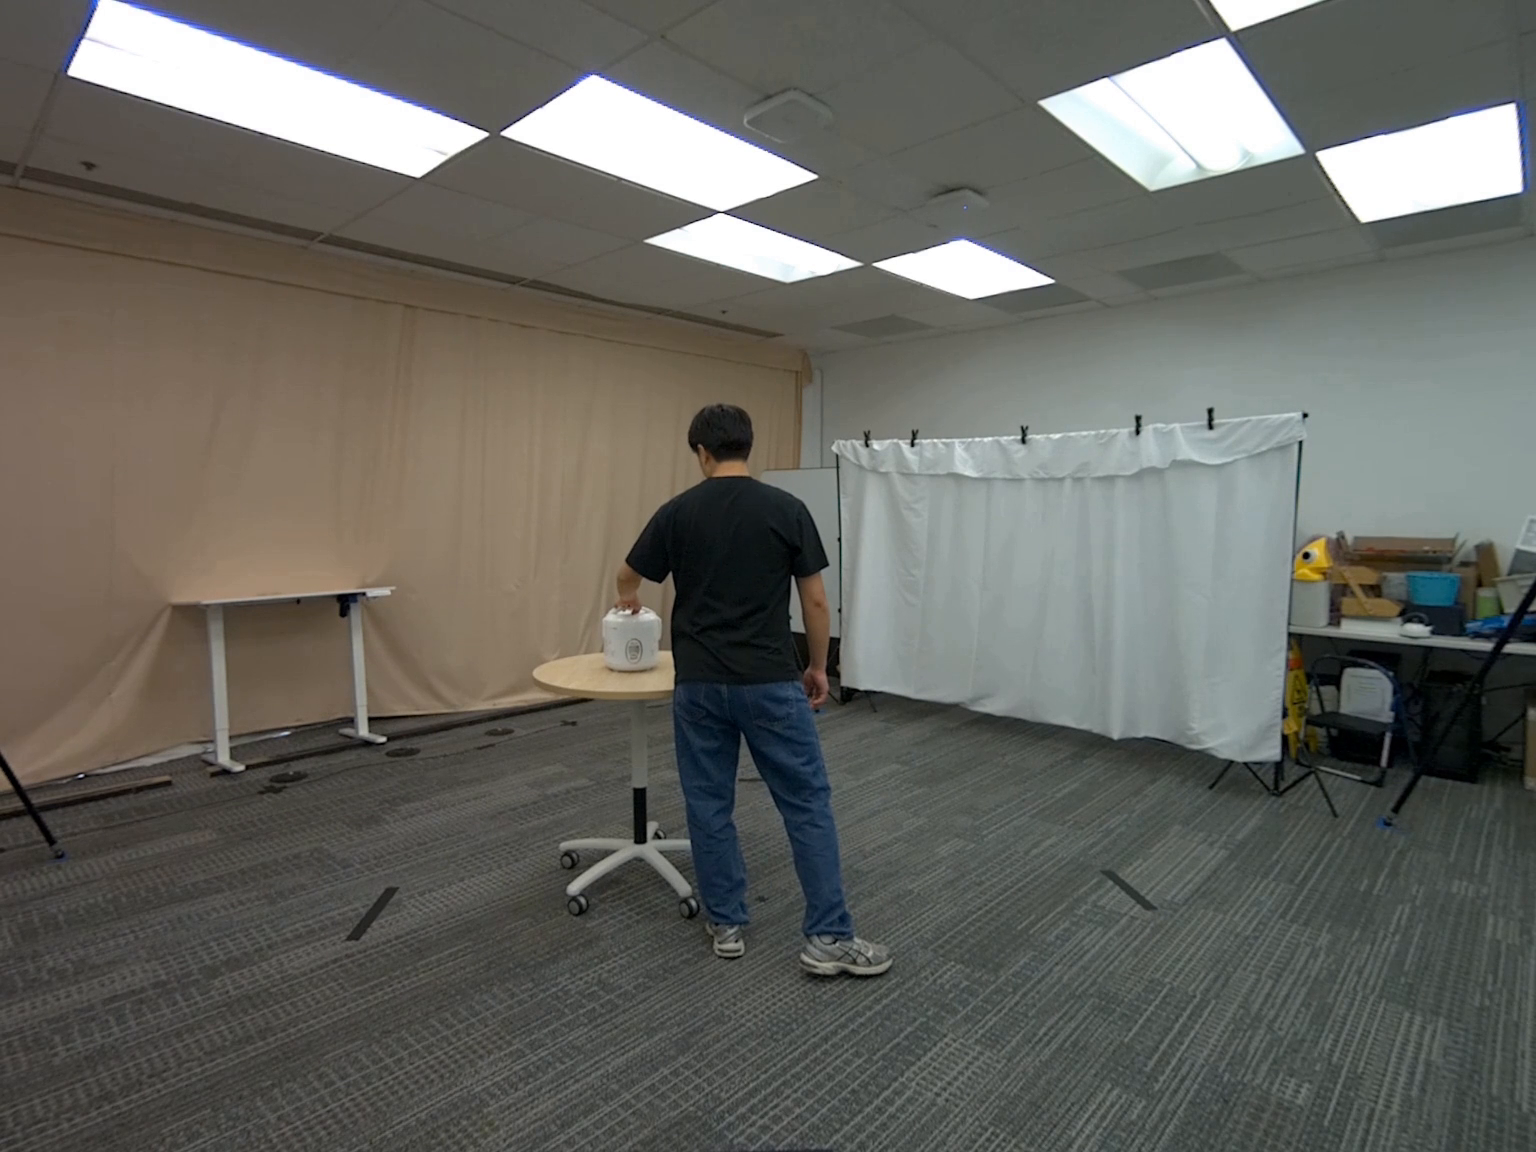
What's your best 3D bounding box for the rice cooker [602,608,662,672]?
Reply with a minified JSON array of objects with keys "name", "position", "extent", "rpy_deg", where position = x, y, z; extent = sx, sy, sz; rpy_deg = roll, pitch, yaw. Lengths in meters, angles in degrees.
[{"name":"rice cooker","position":[-0.503,0.224,3.125],"extent":[0.218,0.232,0.221],"rpy_deg":[-2,4,-13]}]
